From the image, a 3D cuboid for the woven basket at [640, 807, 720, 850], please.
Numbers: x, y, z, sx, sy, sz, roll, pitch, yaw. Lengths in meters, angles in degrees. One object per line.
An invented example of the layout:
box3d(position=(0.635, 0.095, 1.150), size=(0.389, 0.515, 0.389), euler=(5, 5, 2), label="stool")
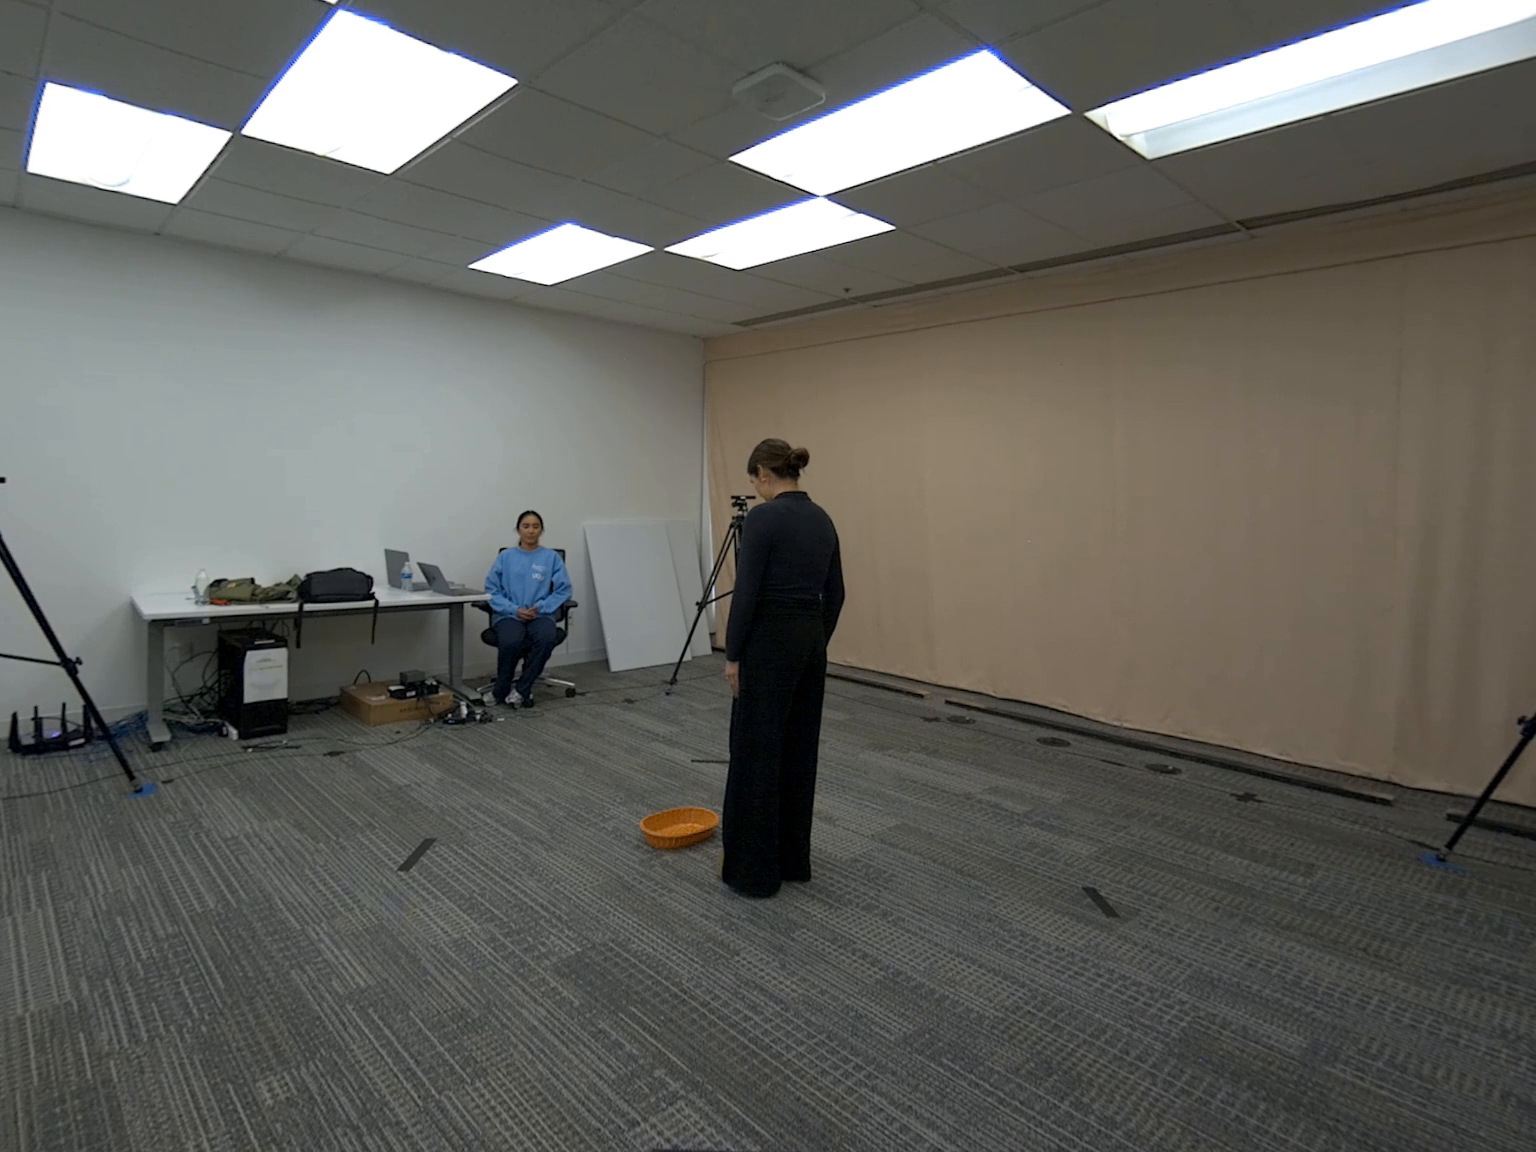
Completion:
box3d(position=(-0.367, 1.028, 3.432), size=(0.342, 0.073, 0.259), euler=(-3, 7, -40), label="woven basket")
